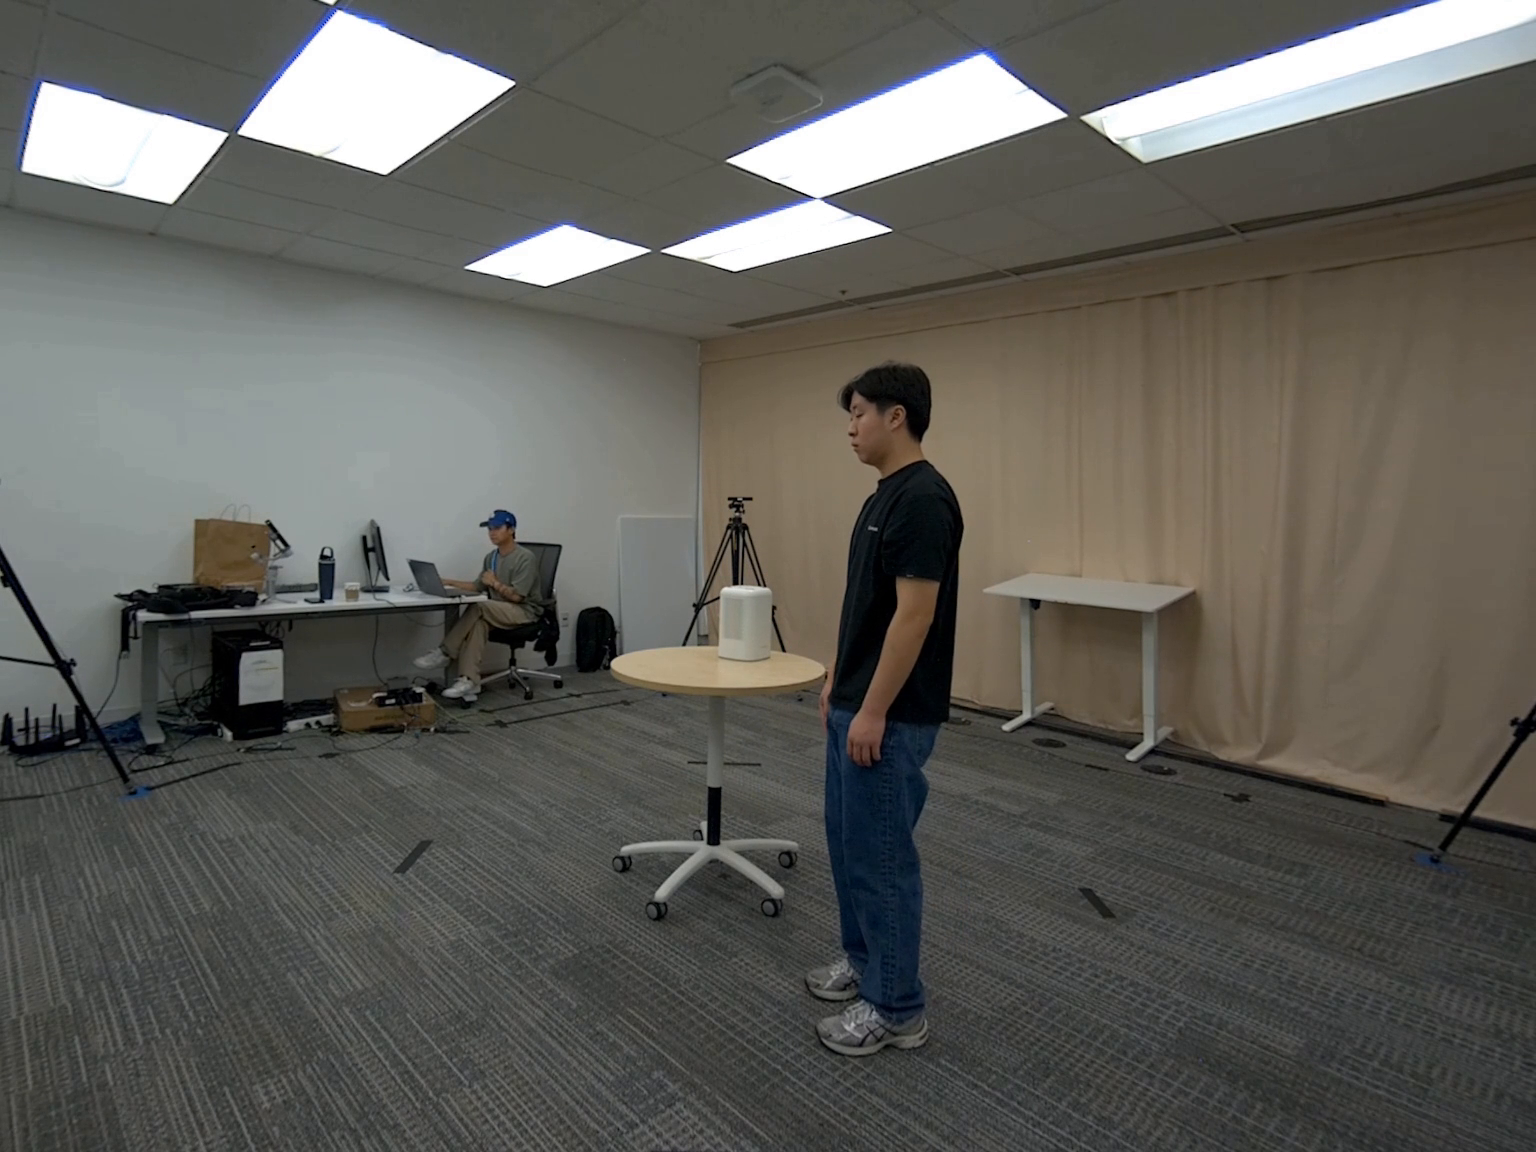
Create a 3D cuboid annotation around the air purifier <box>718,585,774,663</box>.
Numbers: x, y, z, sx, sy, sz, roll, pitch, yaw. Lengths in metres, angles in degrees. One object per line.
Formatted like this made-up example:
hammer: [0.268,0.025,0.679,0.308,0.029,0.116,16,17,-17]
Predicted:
air purifier: [-0.092,0.174,3.179,0.176,0.265,0.167,5,4,33]
